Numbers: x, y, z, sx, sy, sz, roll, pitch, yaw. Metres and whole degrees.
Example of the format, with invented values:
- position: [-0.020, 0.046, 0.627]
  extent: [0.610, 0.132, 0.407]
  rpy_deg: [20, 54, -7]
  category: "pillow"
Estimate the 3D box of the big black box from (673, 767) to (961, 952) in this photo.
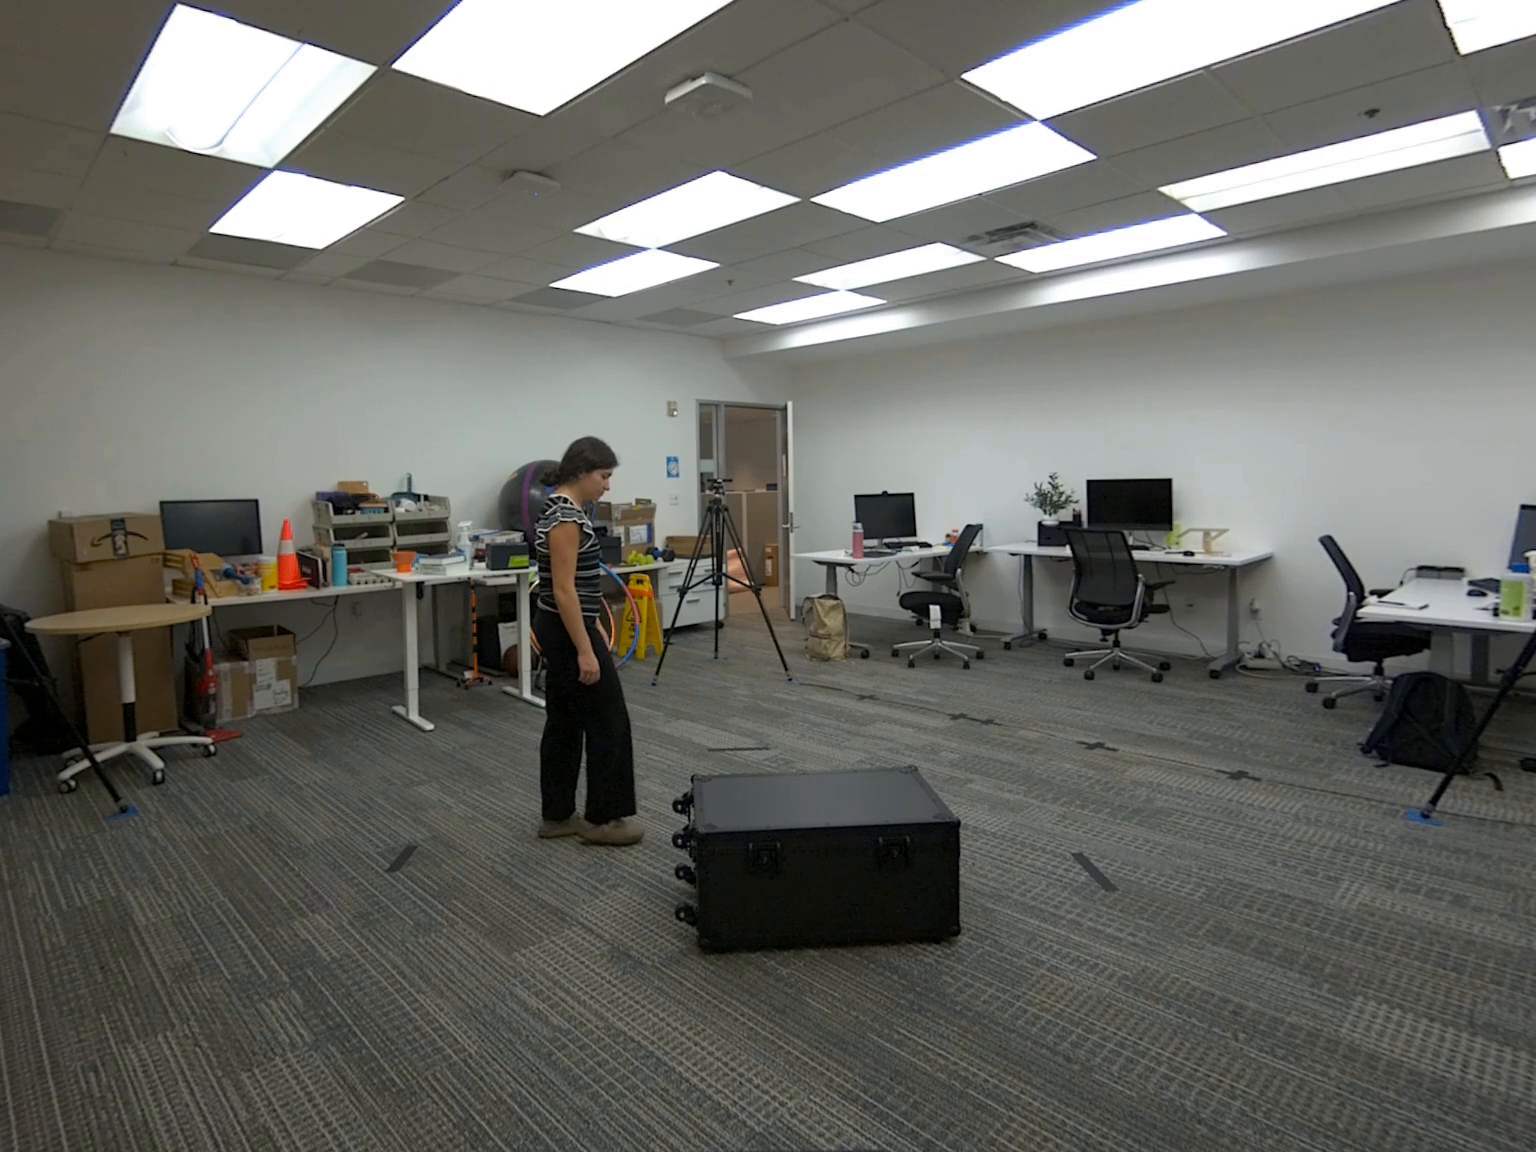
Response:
- position: [0.125, 0.889, 2.753]
  extent: [0.858, 0.395, 0.525]
  rpy_deg: [-1, 5, -4]
  category: "big black box"
